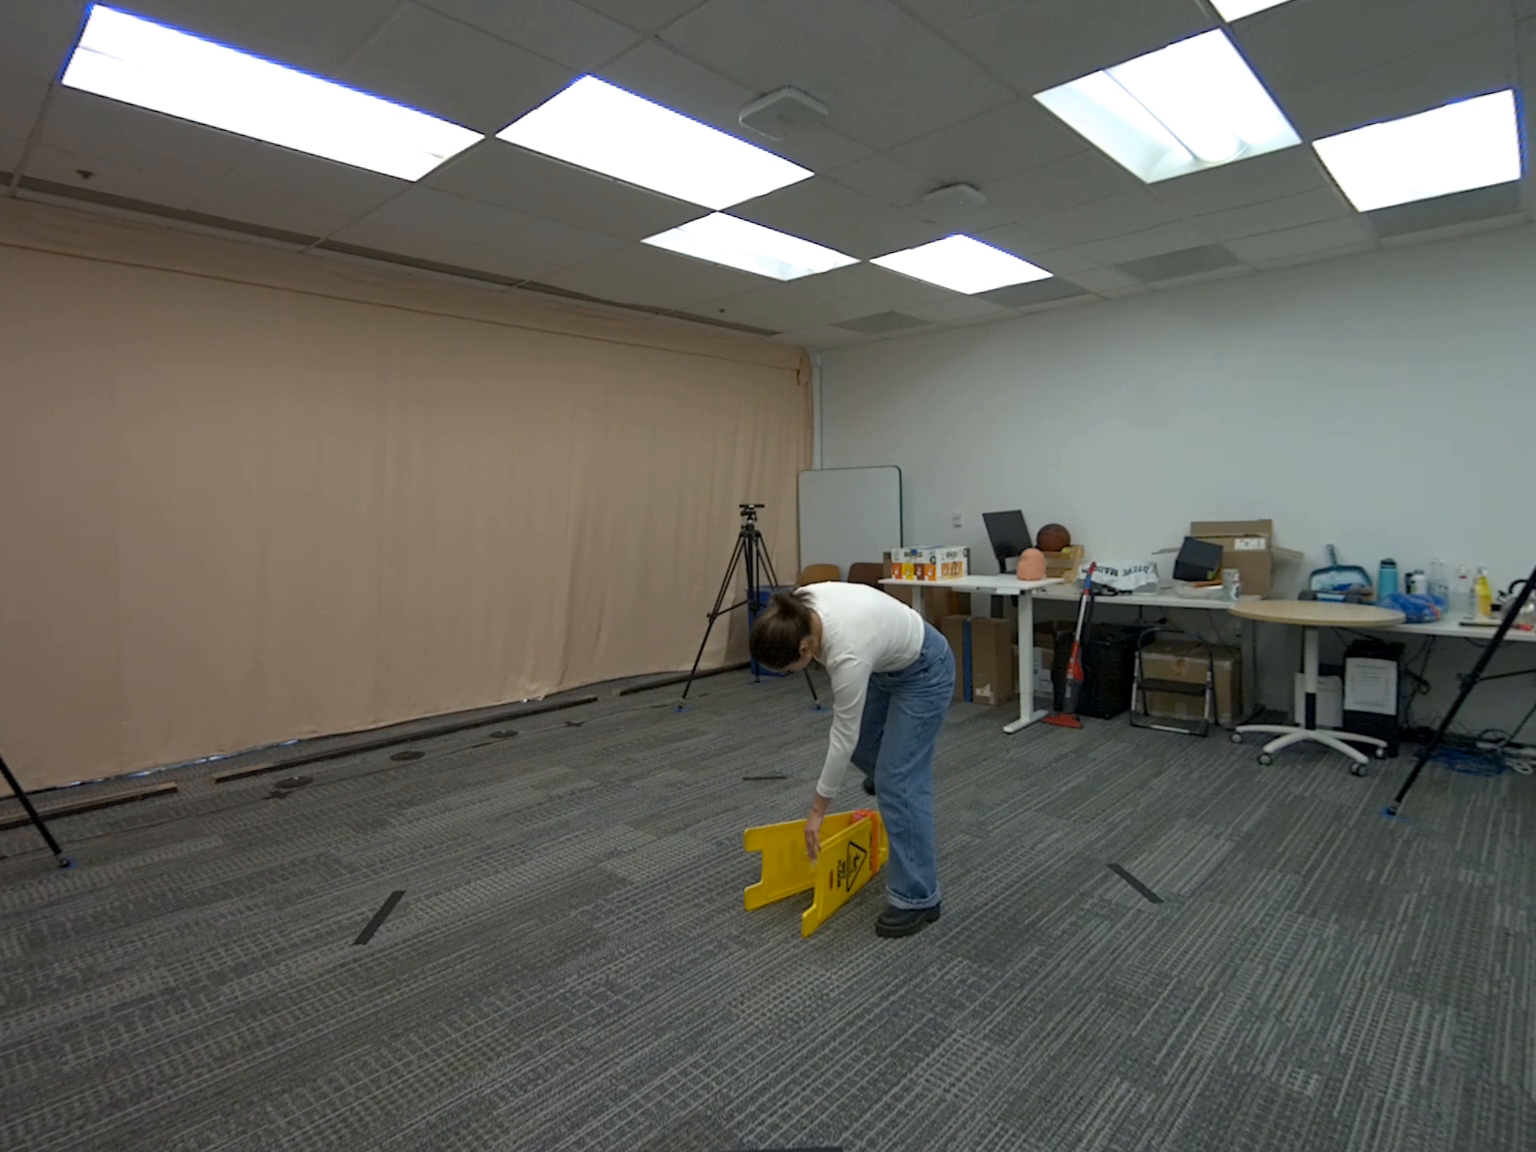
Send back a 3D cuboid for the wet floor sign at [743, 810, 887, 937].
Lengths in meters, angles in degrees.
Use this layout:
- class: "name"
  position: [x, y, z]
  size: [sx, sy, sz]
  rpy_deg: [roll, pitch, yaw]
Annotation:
- class: "wet floor sign"
  position: [0.239, 1.004, 3.012]
  size: [0.299, 0.281, 0.626]
  rpy_deg: [5, 6, 44]
